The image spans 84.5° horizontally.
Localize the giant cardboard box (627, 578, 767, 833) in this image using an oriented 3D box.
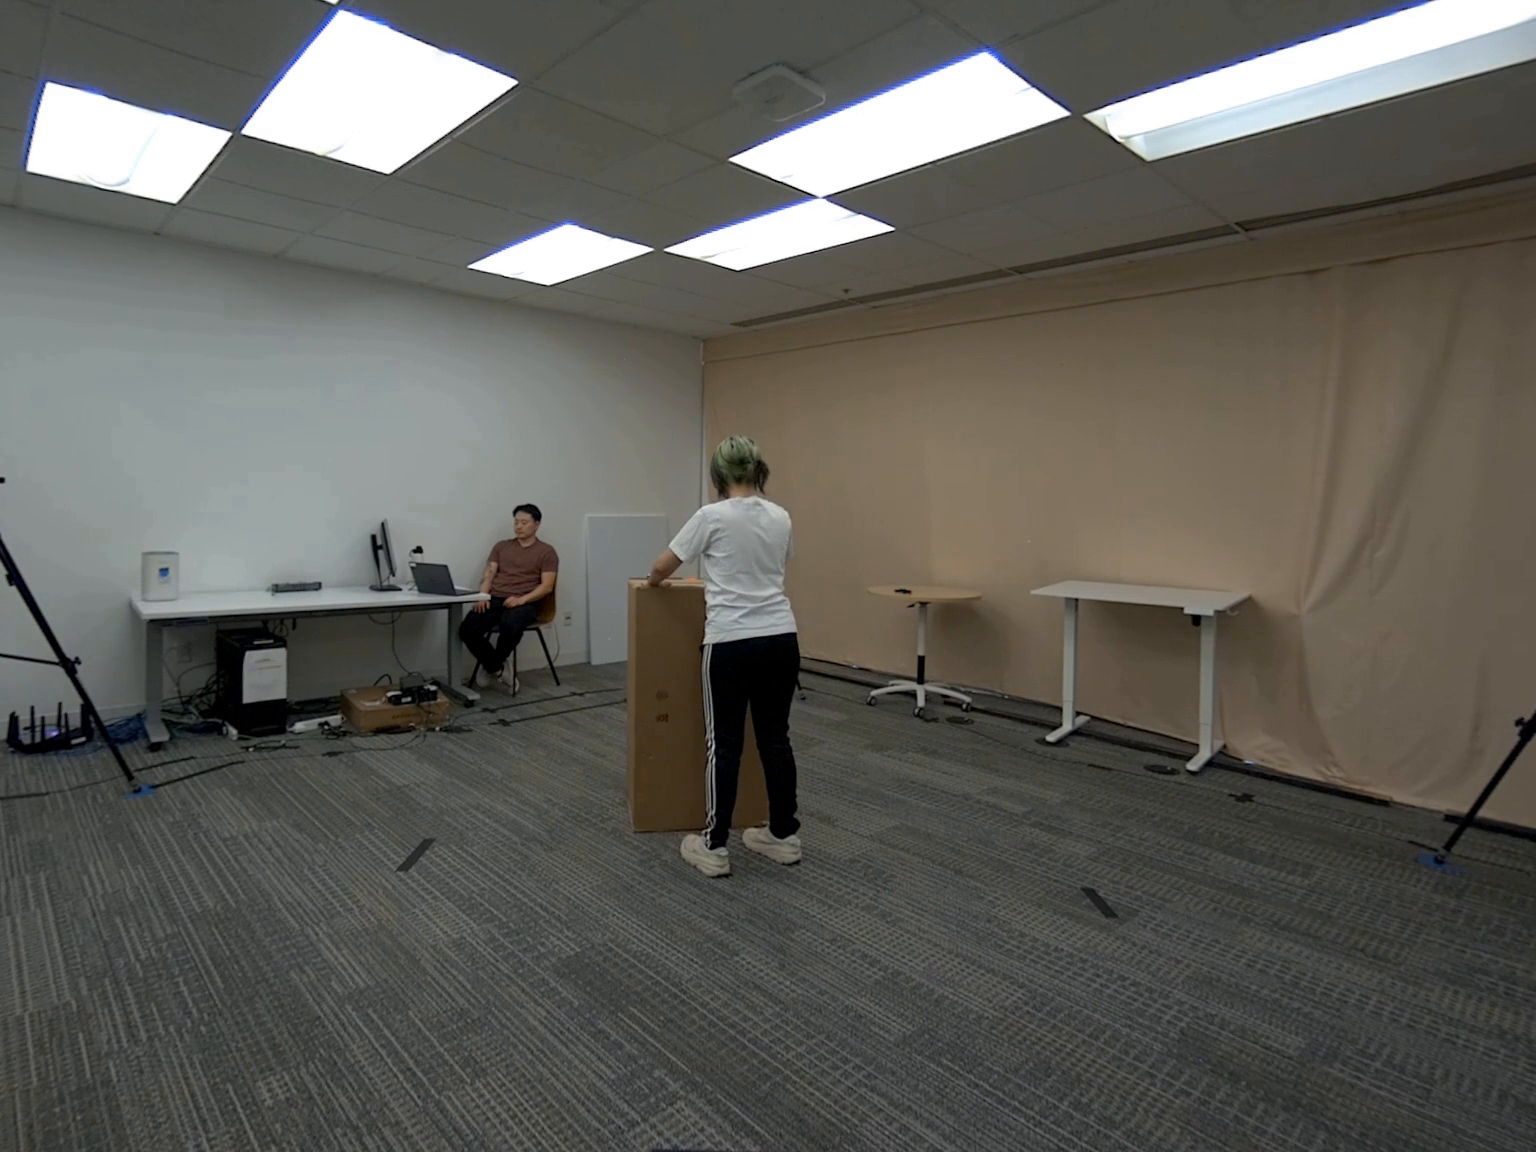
[{"bbox_3d":[-0.325,0.540,3.716,0.579,1.025,0.452,0,3,-12],"label":"giant cardboard box"}]
